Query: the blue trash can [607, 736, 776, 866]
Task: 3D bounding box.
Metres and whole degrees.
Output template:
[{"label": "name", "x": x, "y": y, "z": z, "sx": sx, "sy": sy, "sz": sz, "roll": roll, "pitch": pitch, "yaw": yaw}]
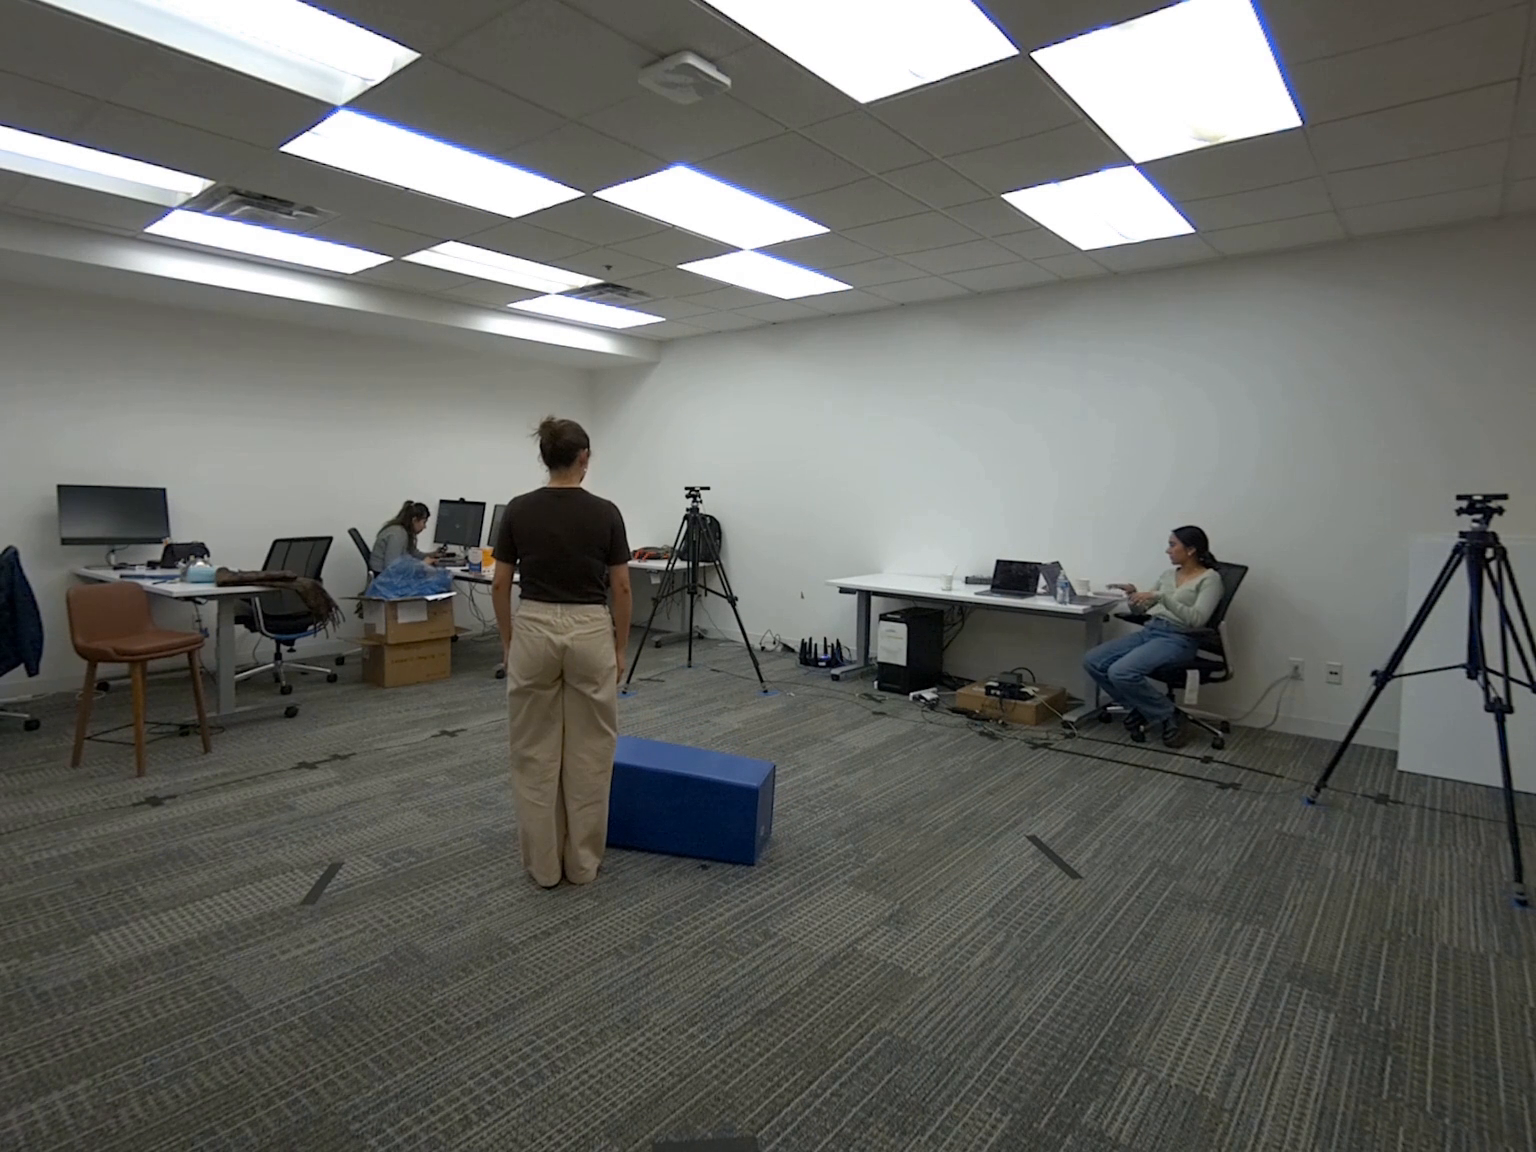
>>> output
[{"label": "blue trash can", "x": -0.366, "y": 0.870, "z": 3.342, "sx": 0.727, "sy": 0.373, "sz": 0.372, "roll": 5, "pitch": 5, "yaw": 16}]
